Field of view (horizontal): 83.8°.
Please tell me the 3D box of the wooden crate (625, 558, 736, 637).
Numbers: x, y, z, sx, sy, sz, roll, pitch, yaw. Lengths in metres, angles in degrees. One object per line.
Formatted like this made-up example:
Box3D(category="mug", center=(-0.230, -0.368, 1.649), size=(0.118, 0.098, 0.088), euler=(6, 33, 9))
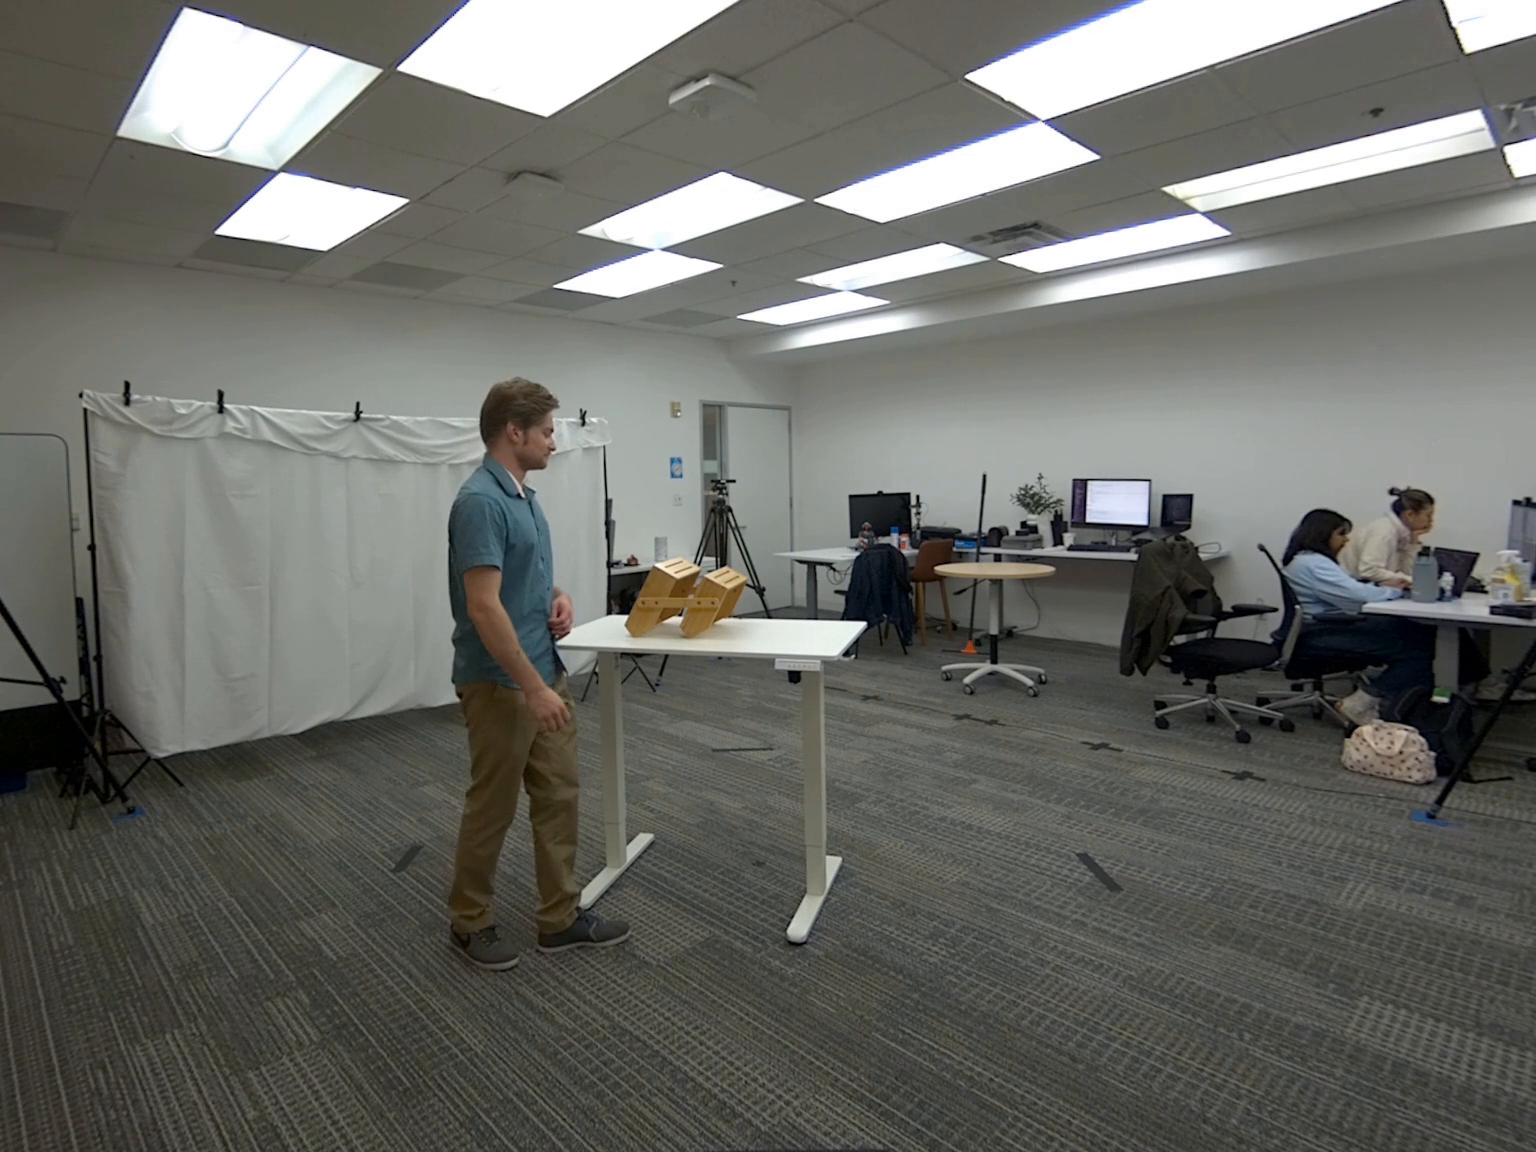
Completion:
Box3D(category="wooden crate", center=(-0.266, 0.098, 2.933), size=(0.277, 0.300, 0.321), euler=(27, 11, 10))
